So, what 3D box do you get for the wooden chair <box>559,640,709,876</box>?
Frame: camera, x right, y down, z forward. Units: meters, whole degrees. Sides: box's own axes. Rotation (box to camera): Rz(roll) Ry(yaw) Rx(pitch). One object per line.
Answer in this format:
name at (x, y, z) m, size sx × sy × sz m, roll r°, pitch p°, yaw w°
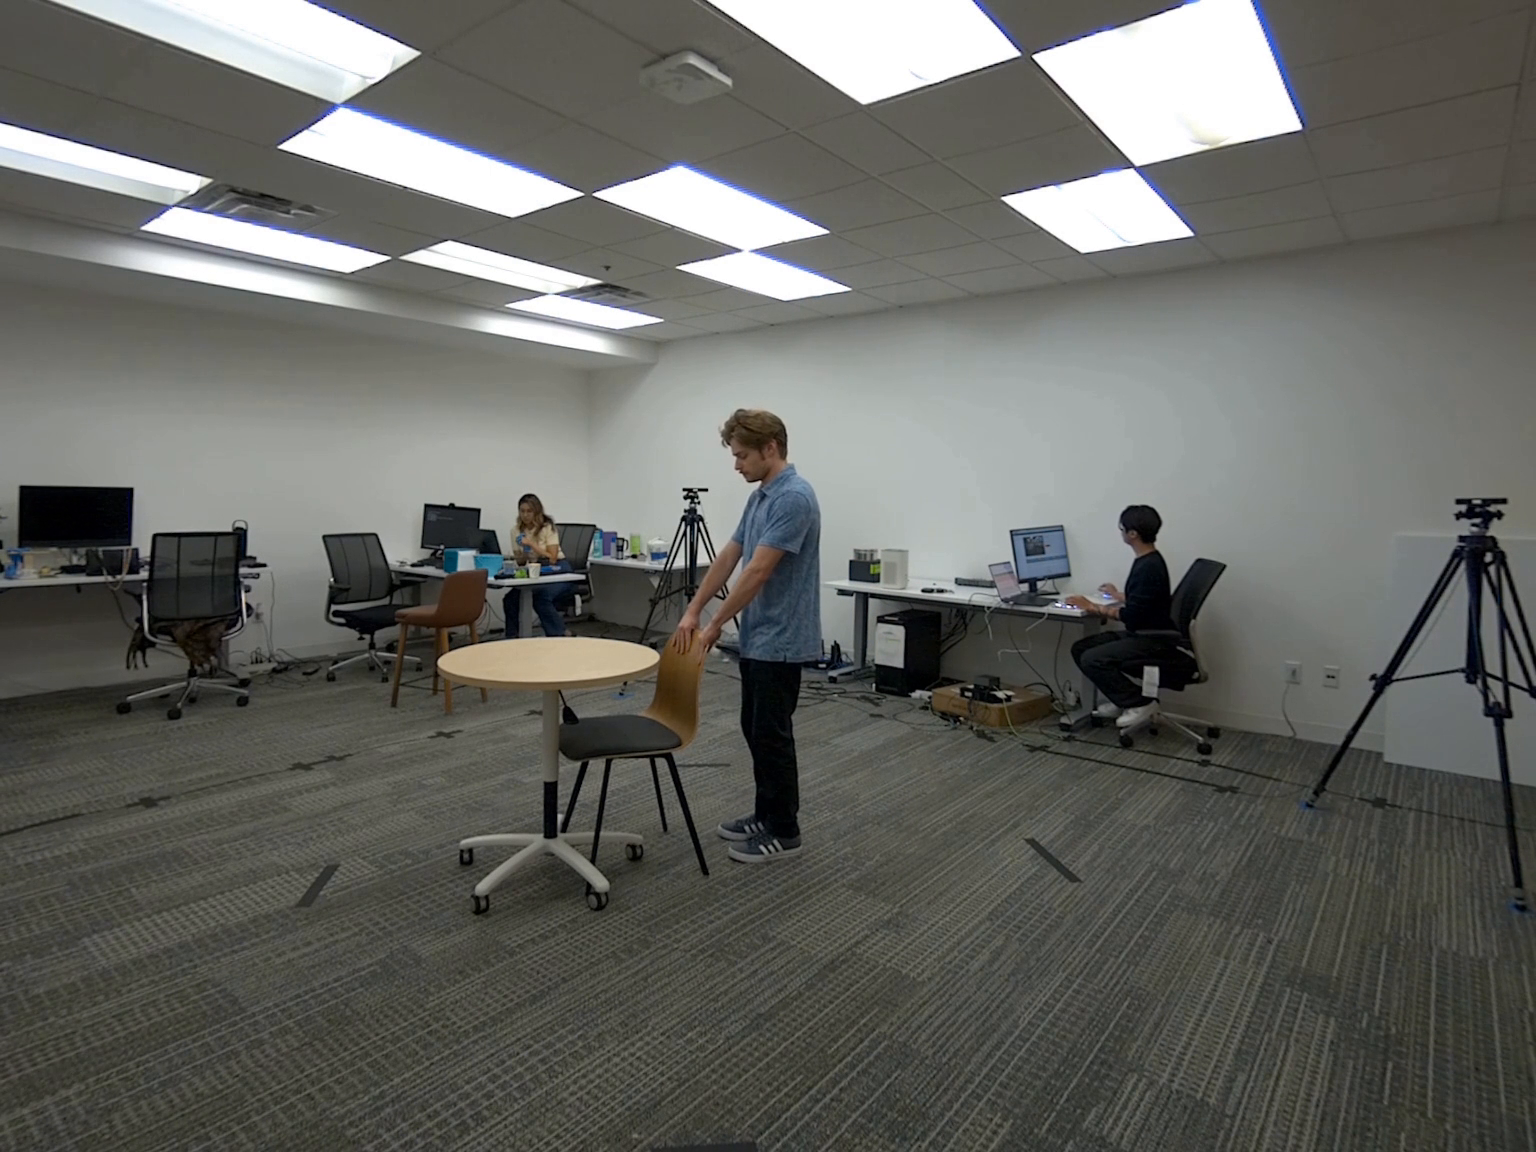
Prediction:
wooden chair at (-0.520, 0.630, 3.148) m, size 0.510 × 0.876 × 0.491 m, roll 4°, pitch 2°, yaw -25°
